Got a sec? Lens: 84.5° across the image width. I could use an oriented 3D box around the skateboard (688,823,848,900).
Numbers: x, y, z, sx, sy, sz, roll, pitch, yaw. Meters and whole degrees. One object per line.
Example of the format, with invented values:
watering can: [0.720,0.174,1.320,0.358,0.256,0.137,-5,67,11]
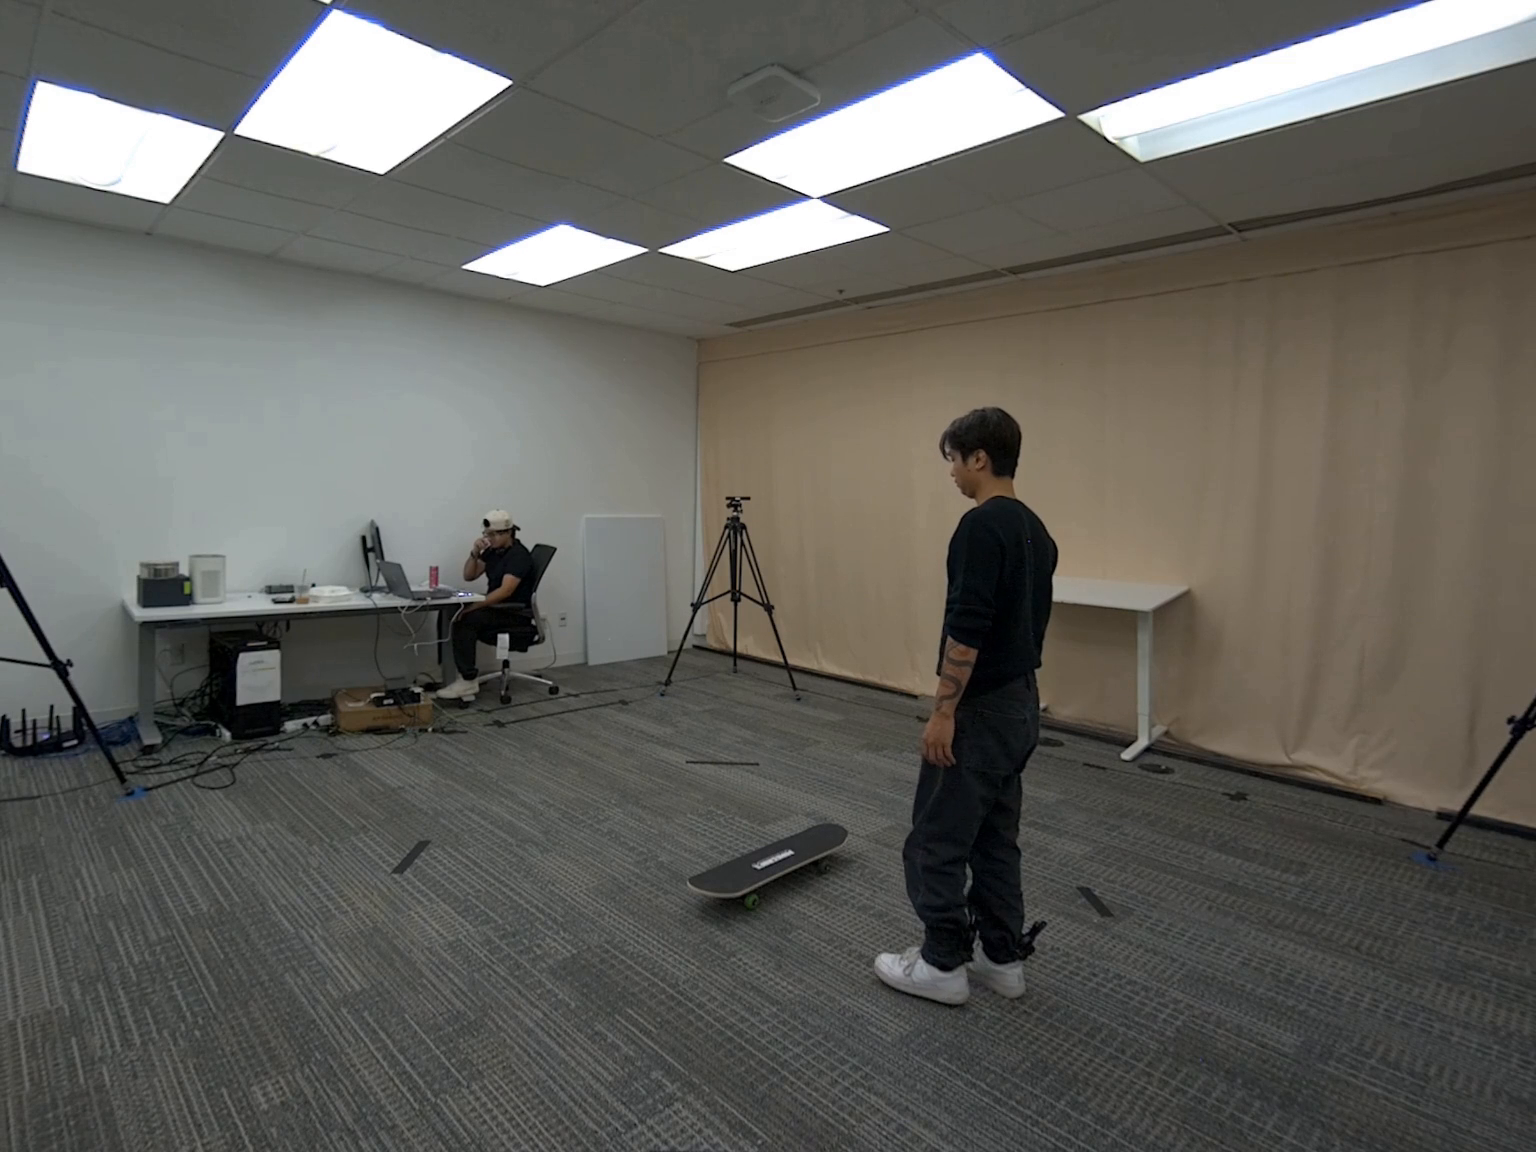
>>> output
skateboard: [0.013,1.055,3.046,0.198,0.110,0.768,5,6,42]
